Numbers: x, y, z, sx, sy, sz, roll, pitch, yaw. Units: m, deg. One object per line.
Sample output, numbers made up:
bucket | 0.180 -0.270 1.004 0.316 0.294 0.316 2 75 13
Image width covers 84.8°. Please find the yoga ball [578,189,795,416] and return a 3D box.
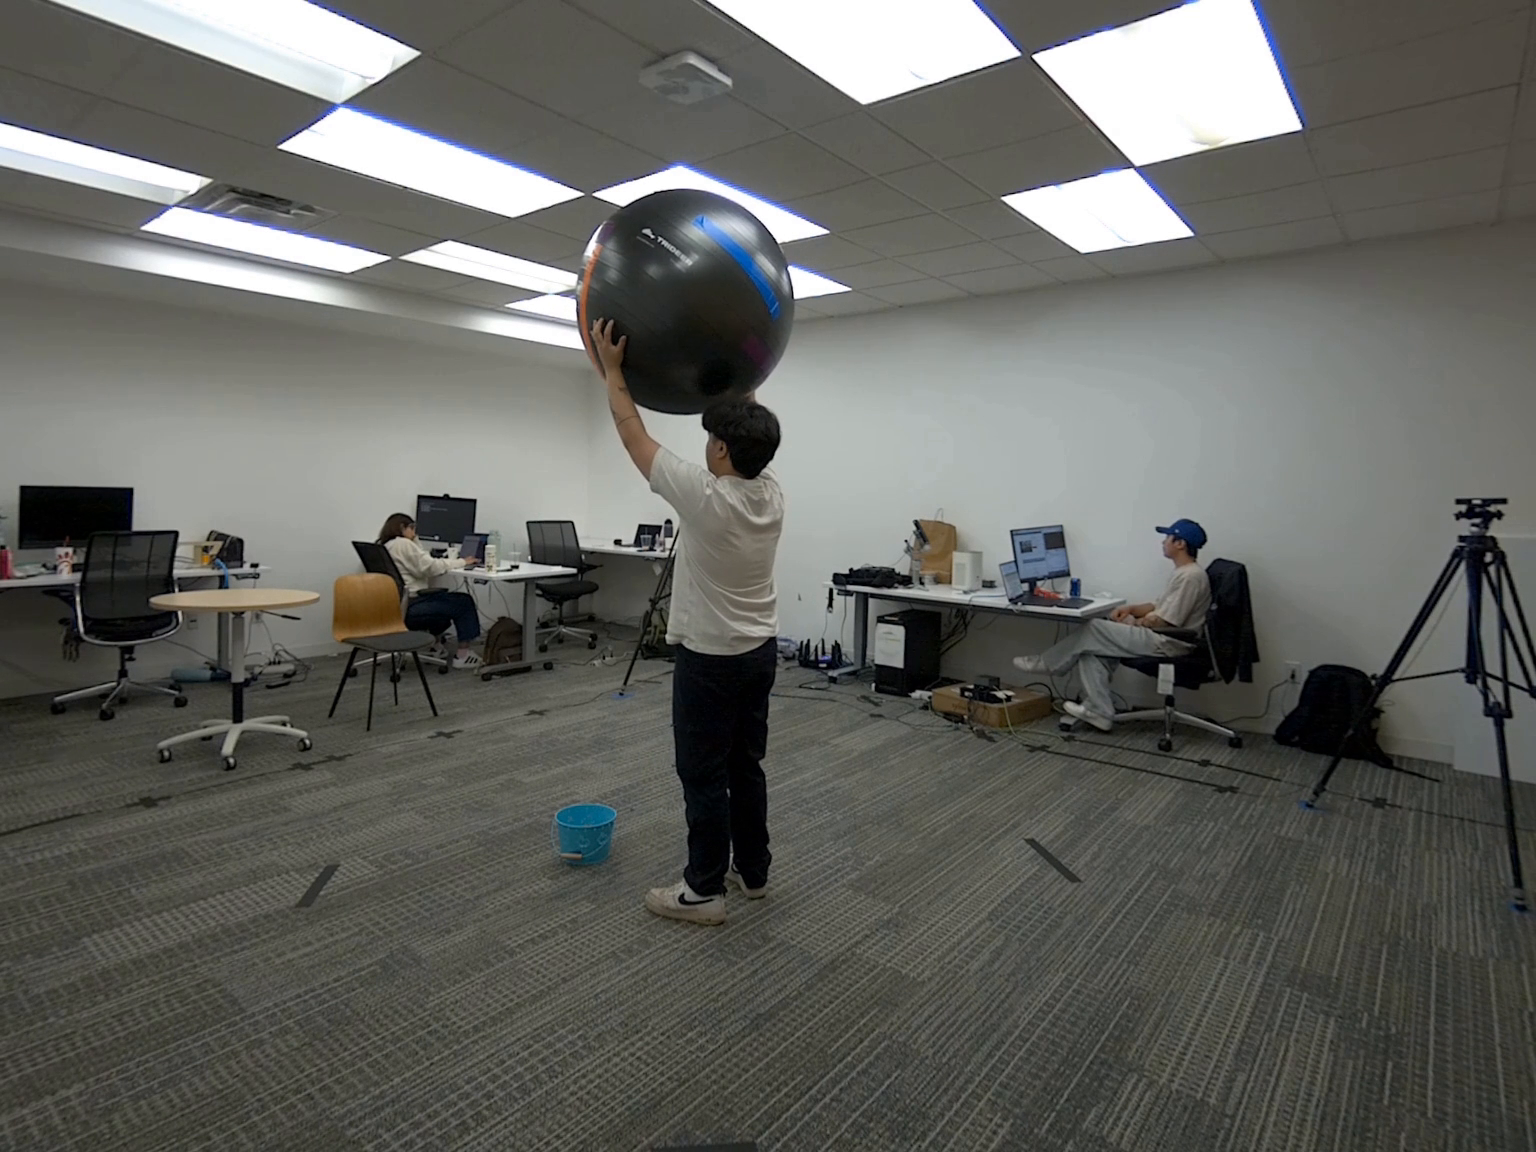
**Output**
yoga ball | -0.298 -0.938 2.956 0.757 0.755 0.762 1 4 -2
